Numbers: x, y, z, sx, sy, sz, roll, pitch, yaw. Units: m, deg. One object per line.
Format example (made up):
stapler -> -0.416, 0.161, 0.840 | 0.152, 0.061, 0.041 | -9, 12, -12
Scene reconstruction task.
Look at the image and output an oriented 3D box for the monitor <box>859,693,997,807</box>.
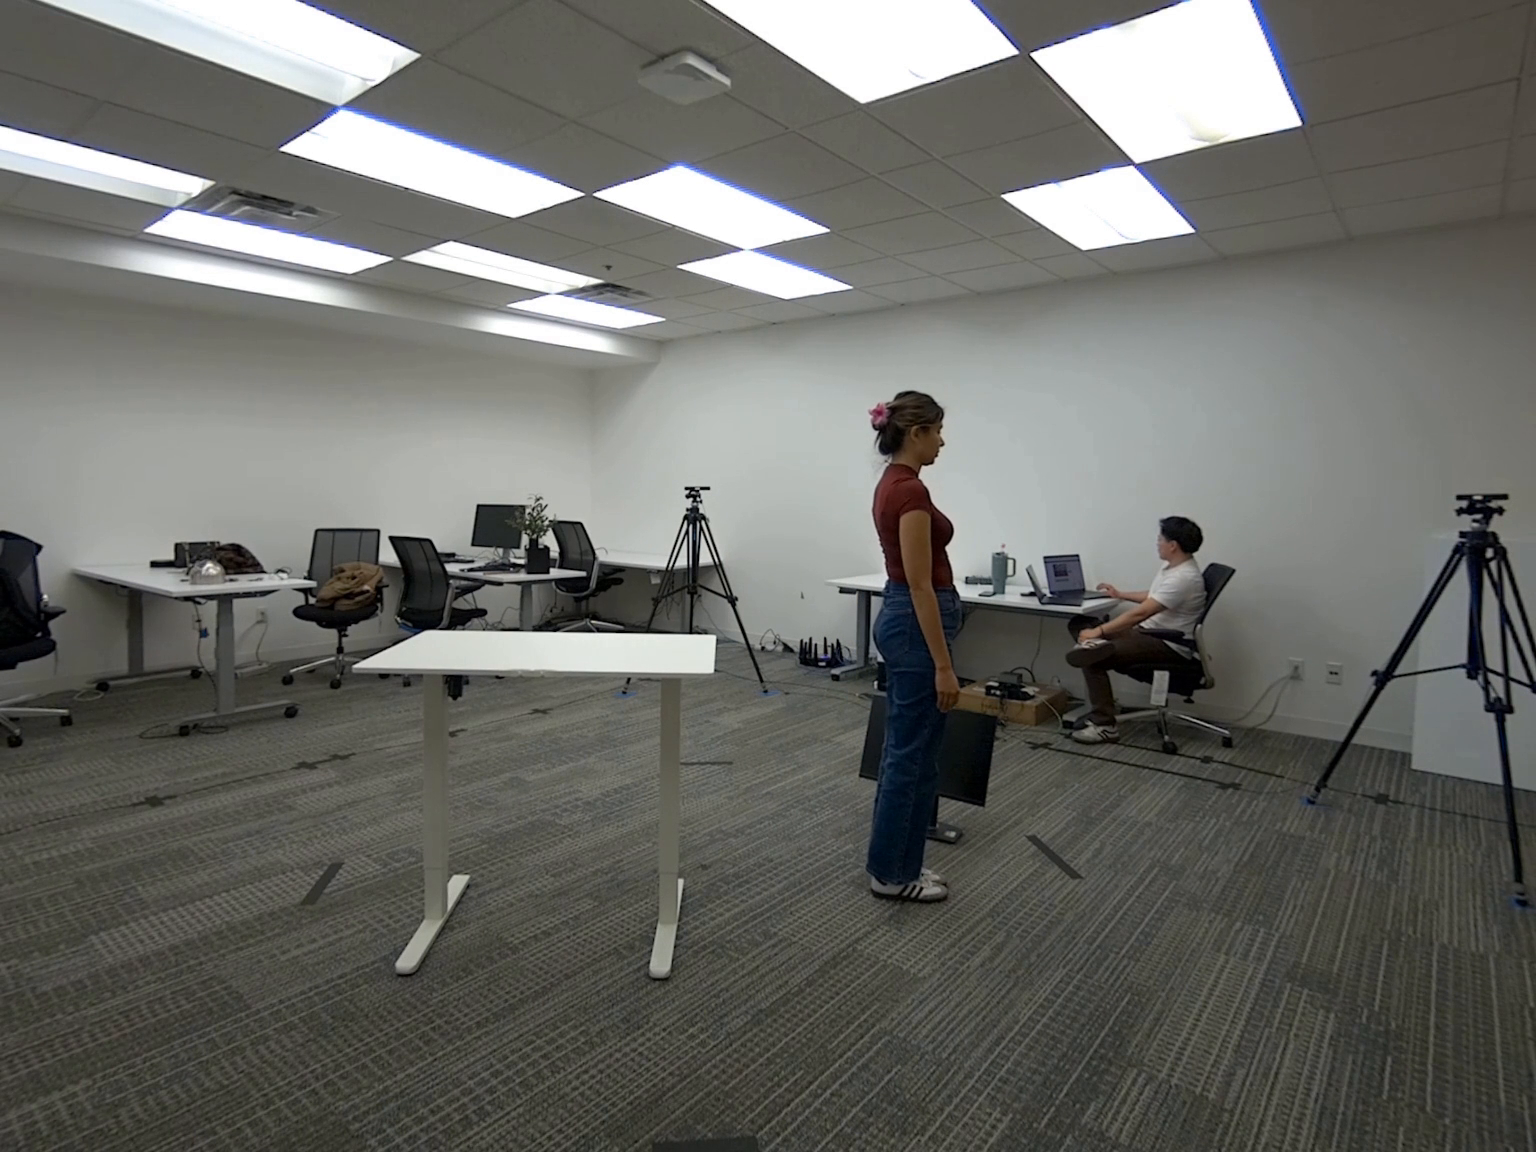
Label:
monitor -> 0.650, 0.782, 3.489 | 0.556, 0.522, 0.181 | 4, 1, 32
